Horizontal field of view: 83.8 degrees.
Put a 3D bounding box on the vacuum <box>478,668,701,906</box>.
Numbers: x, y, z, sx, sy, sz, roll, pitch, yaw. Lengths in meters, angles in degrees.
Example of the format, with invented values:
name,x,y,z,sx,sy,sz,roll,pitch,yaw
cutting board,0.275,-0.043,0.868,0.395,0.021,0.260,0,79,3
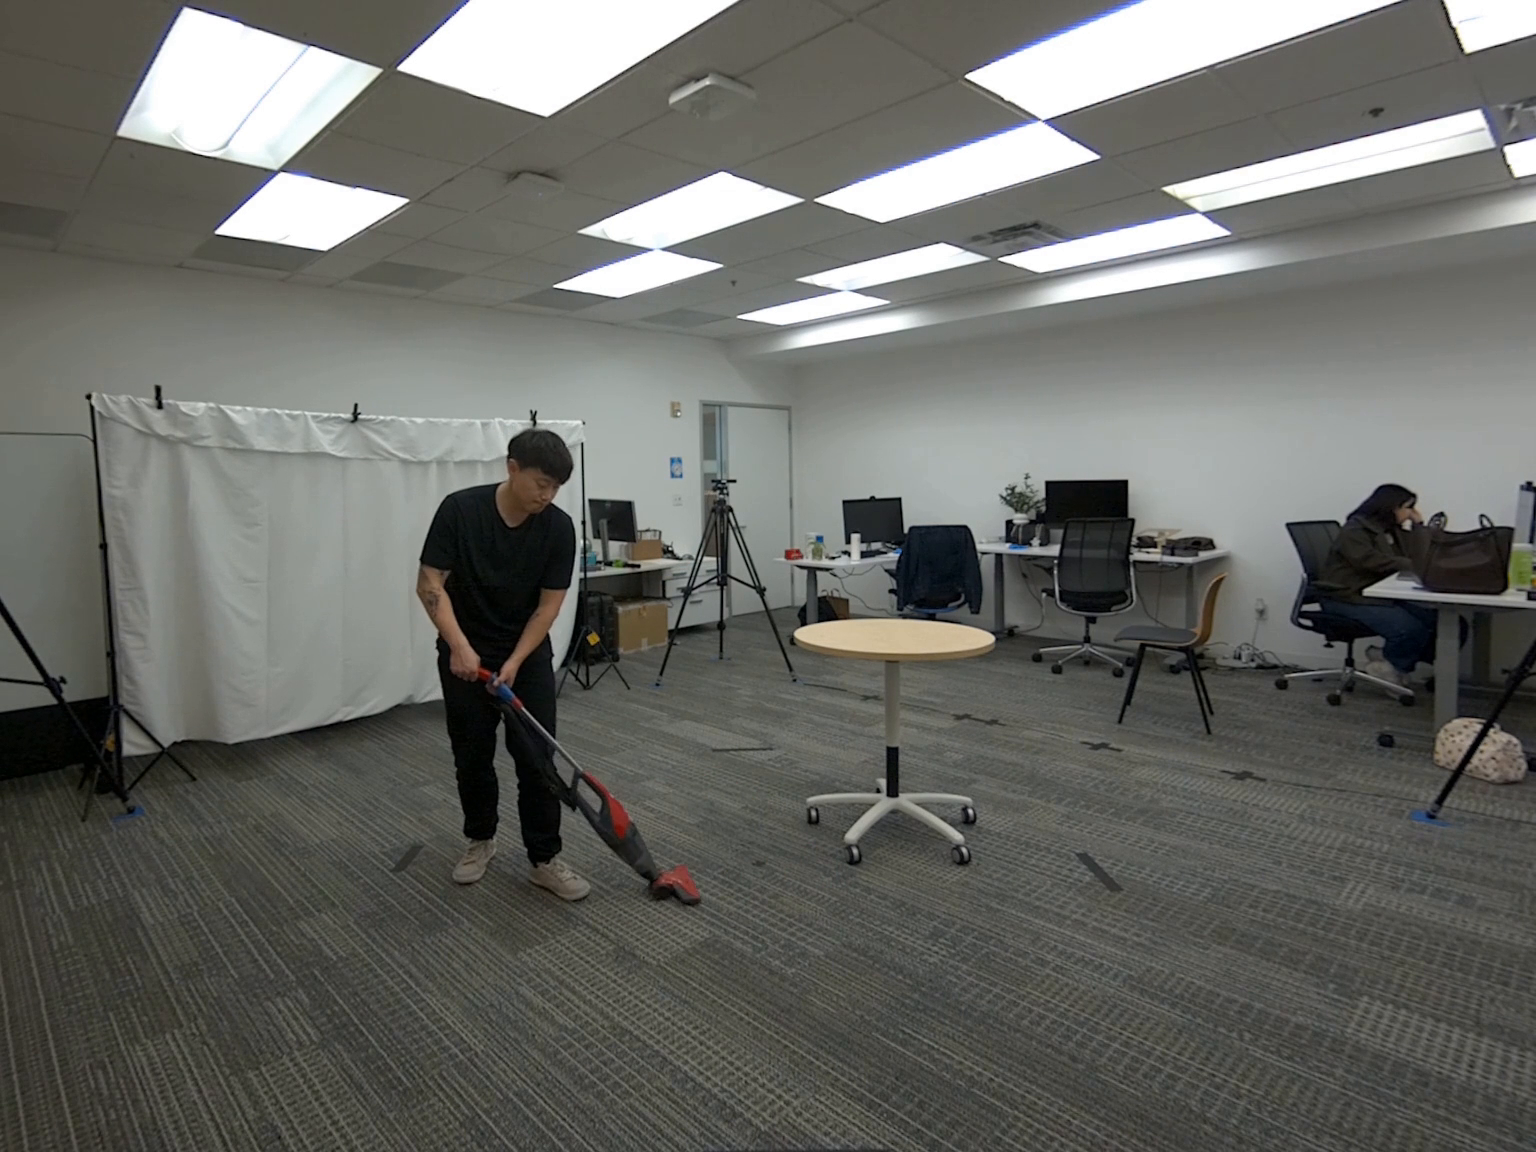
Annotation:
name,x,y,z,sx,sy,sz,roll,pitch,yaw
vacuum,-0.633,0.683,2.814,0.144,1.032,0.257,-42,13,-6
